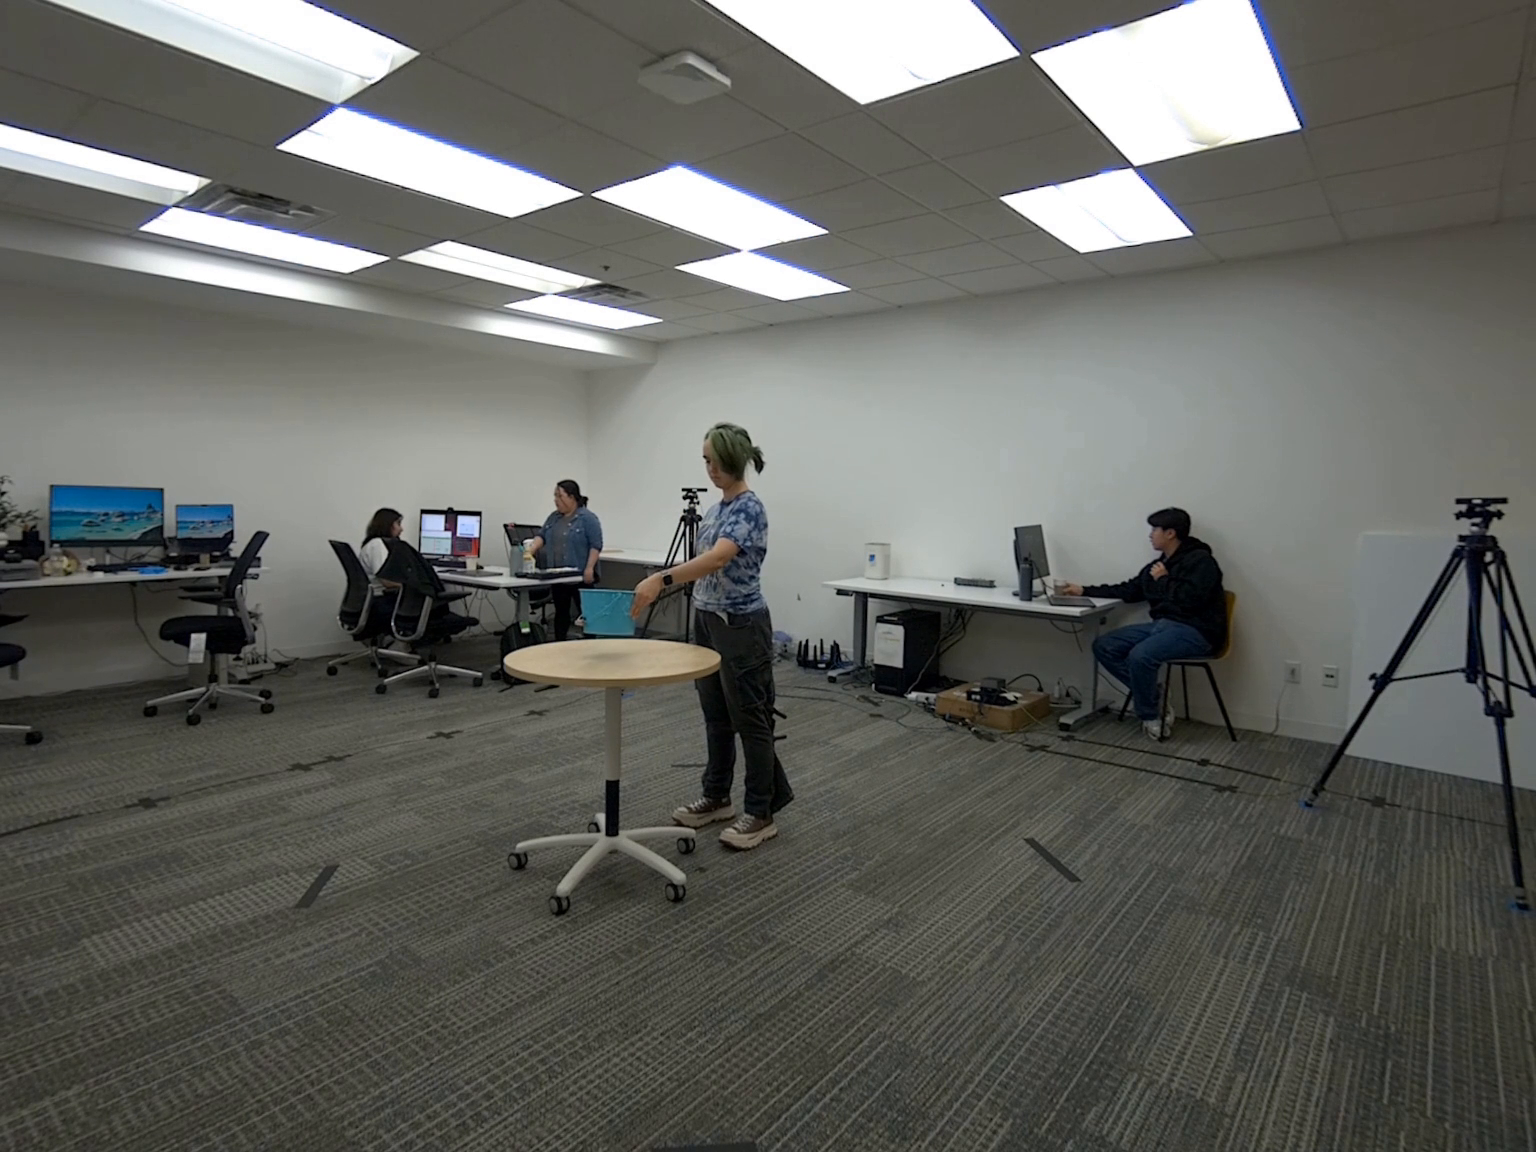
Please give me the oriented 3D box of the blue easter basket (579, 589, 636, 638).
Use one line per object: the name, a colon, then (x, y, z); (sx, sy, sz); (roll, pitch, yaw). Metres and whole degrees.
blue easter basket: (-0.589, 0.130, 3.049); (0.243, 0.156, 0.243); (3, -3, -2)
